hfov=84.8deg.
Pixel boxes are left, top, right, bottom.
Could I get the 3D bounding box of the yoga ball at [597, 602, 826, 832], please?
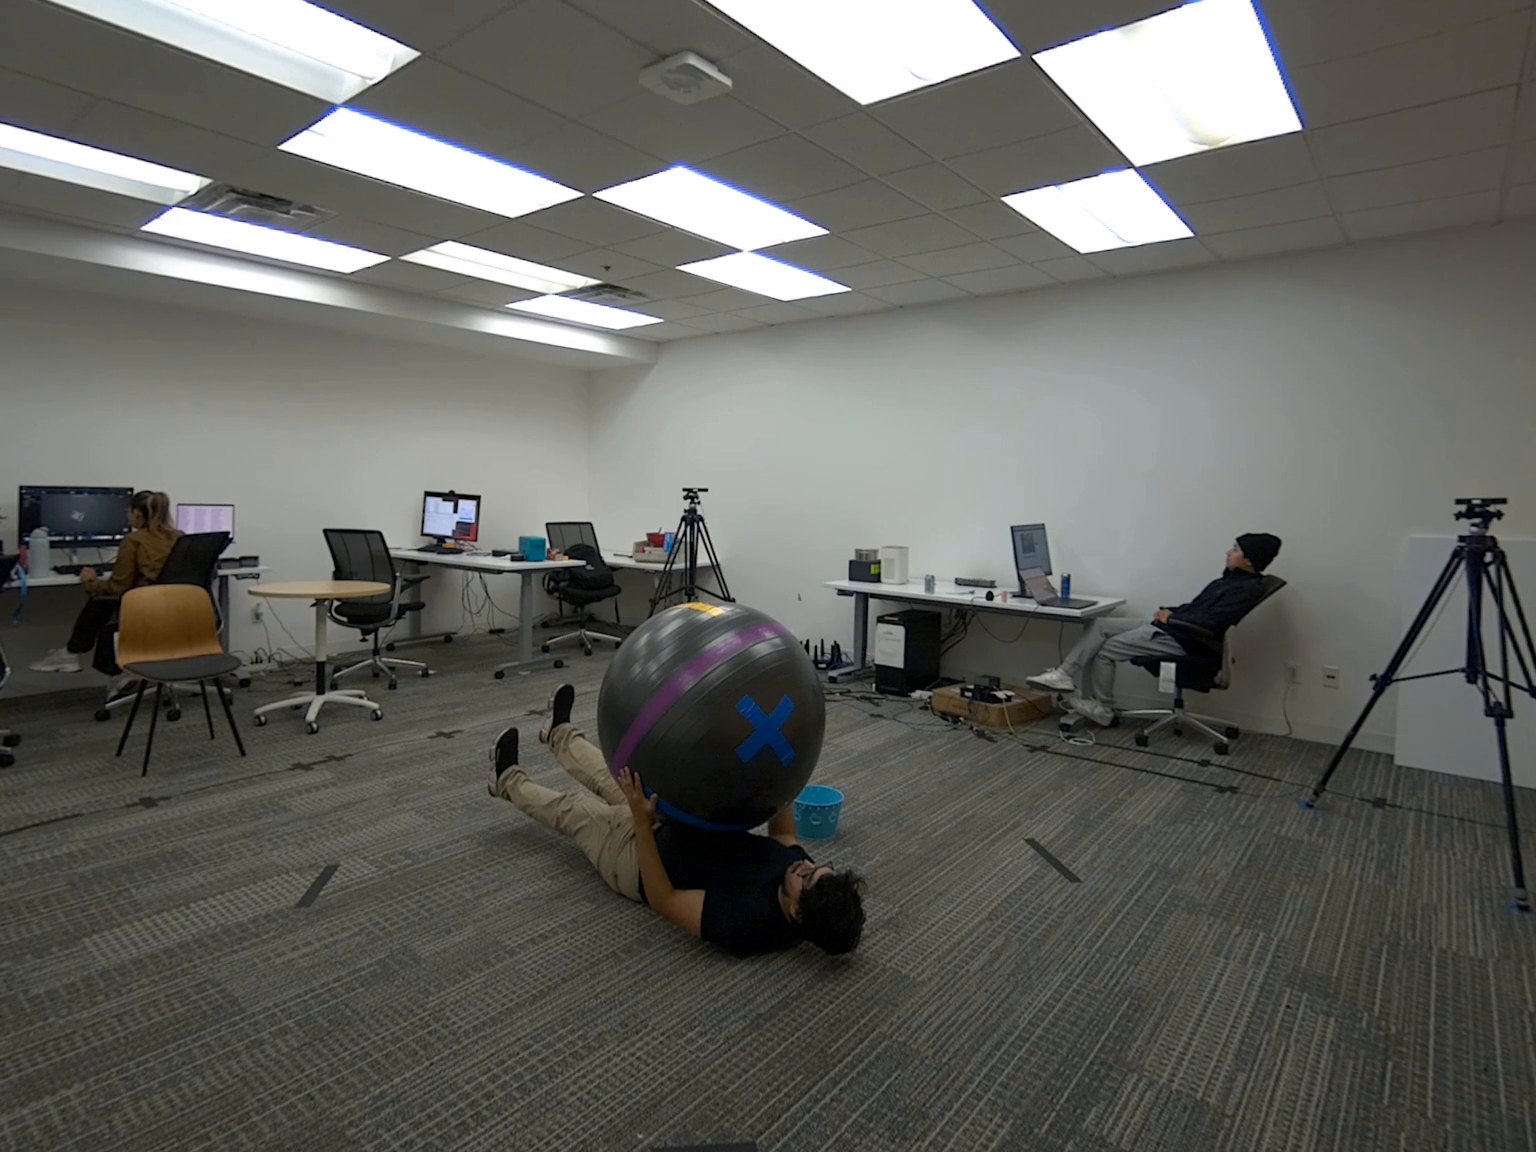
[{"bbox_3d":[-0.198,0.462,2.828,0.757,0.756,0.761,0,4,-2],"label":"yoga ball"}]
